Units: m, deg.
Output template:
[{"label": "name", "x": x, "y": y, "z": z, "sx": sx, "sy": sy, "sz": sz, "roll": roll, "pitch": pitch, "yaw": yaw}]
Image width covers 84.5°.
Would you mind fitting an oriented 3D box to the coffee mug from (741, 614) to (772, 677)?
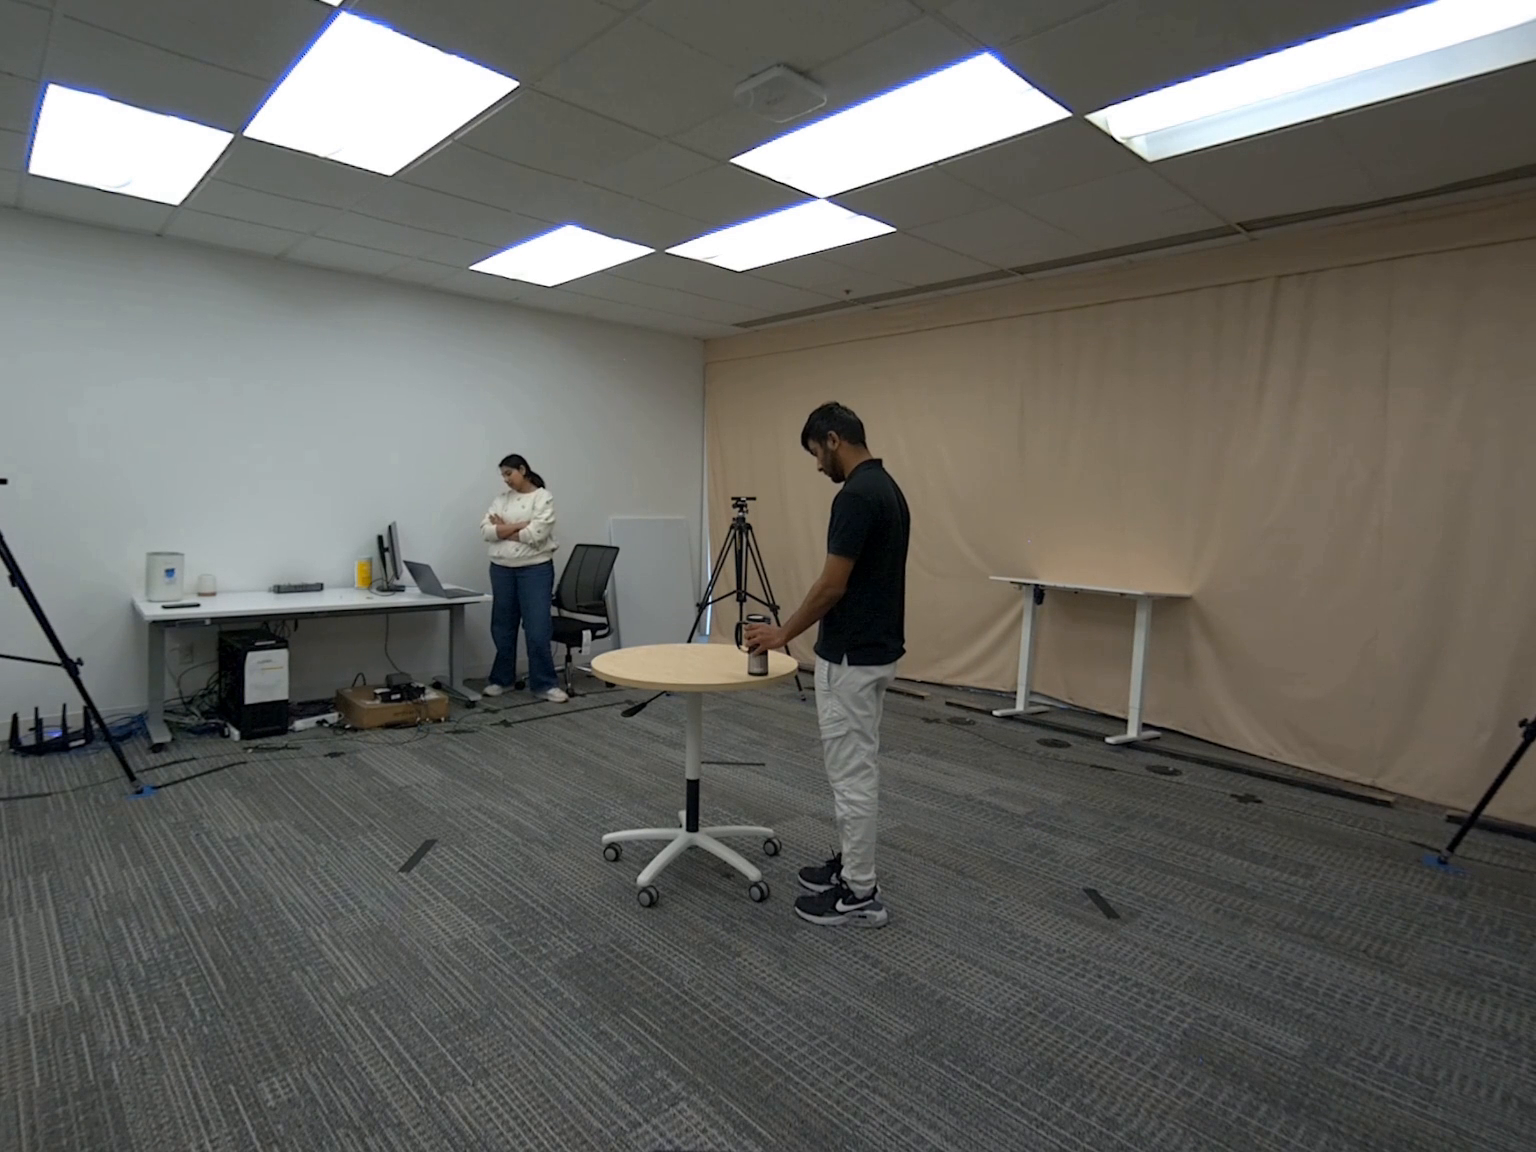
[{"label": "coffee mug", "x": -0.054, "y": 0.241, "z": 2.911, "sx": 0.123, "sy": 0.202, "sz": 0.087, "roll": 5, "pitch": 7, "yaw": 16}]
